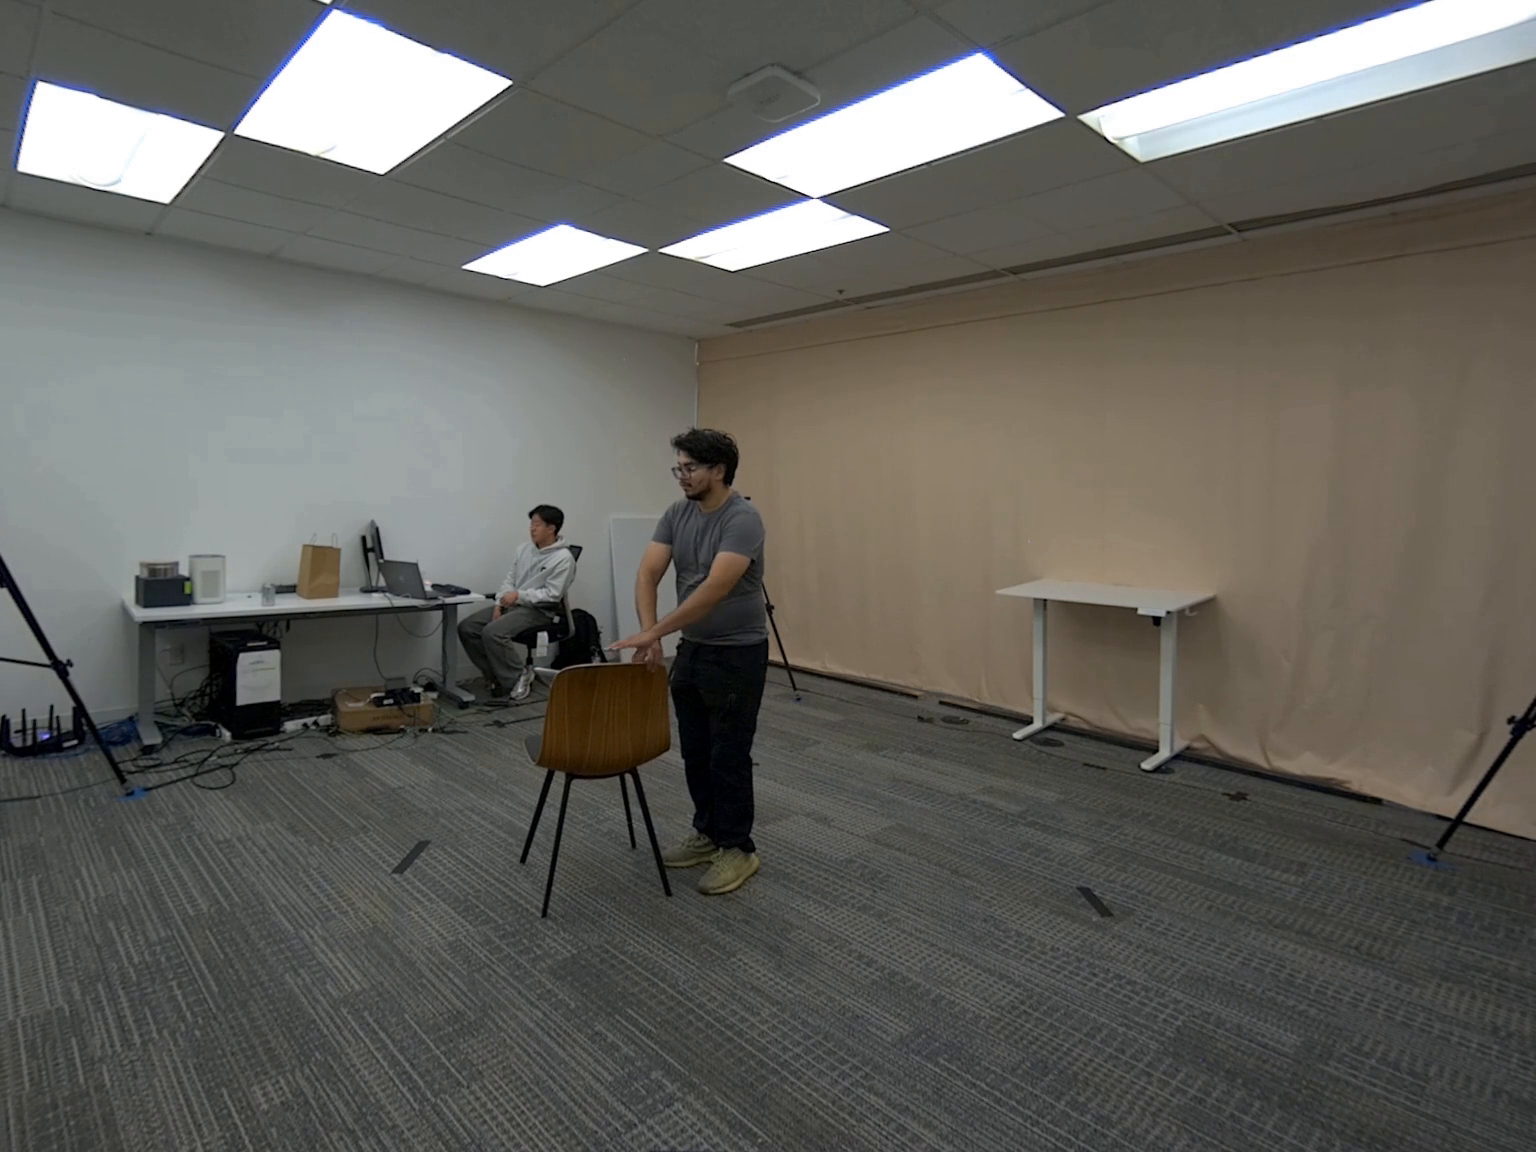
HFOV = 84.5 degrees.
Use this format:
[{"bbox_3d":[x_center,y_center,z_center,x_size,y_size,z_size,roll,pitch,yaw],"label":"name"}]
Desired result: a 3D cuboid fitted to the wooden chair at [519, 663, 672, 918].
[{"bbox_3d":[-0.635,0.680,3.031,0.469,0.873,0.535,0,8,-25],"label":"wooden chair"}]
